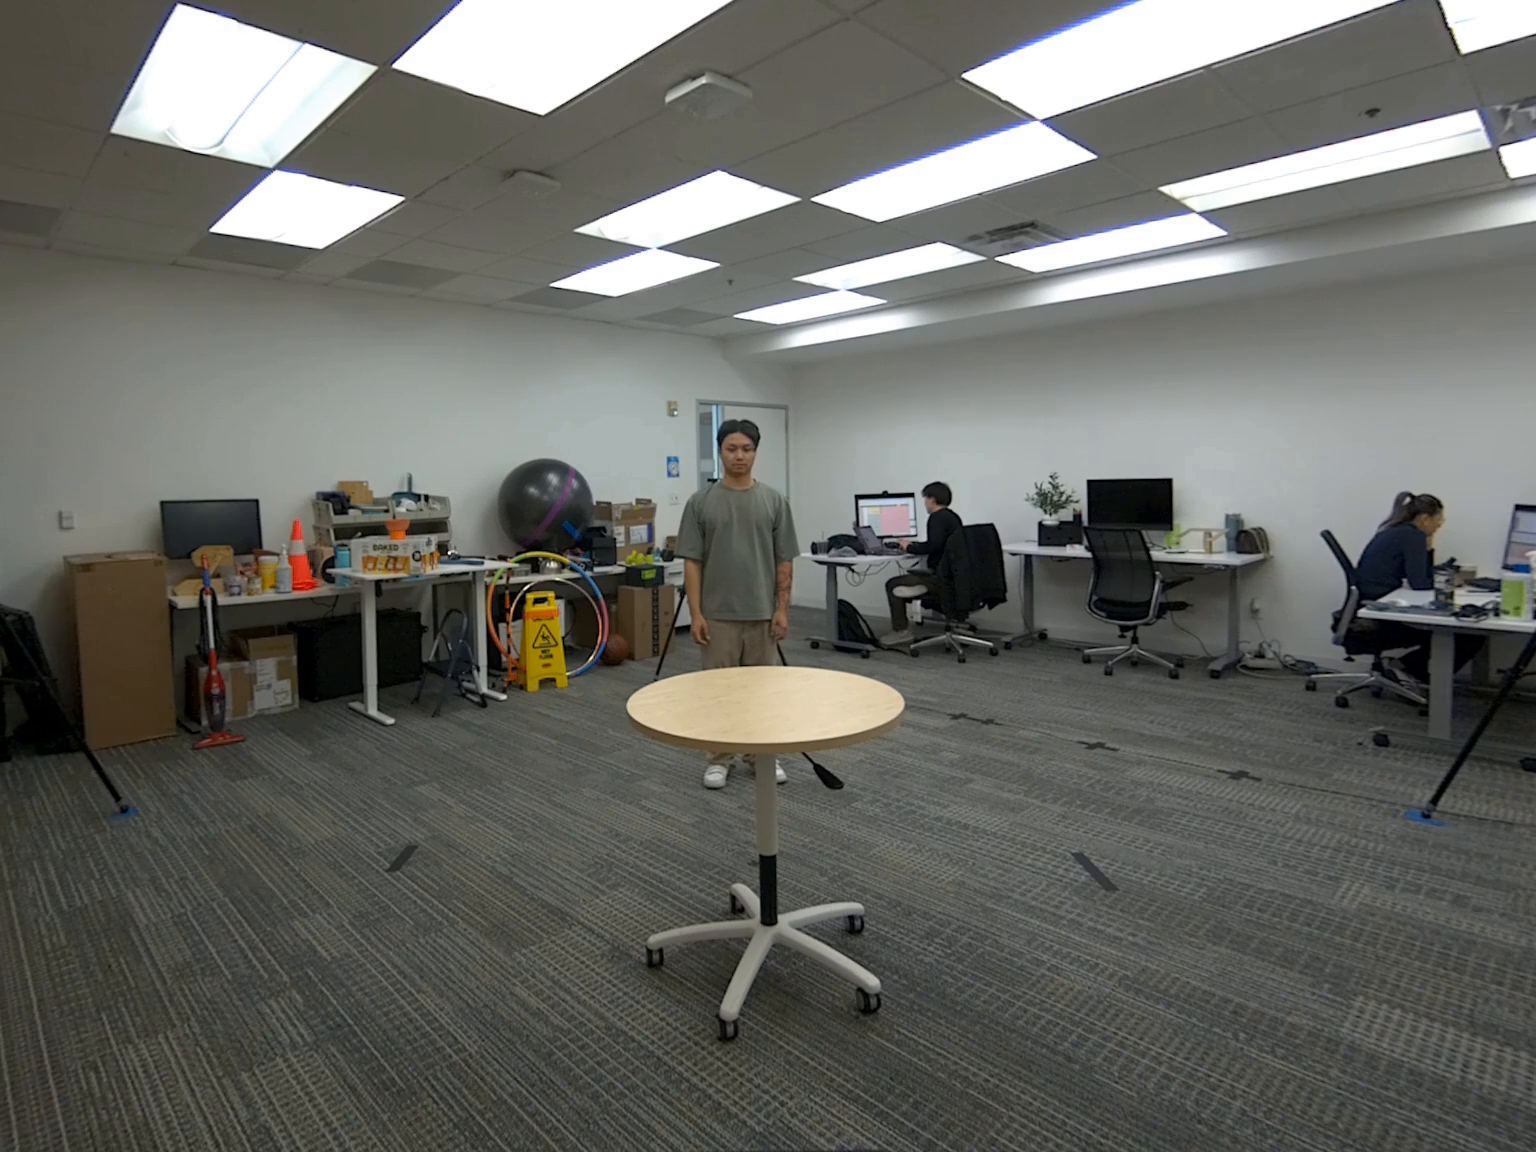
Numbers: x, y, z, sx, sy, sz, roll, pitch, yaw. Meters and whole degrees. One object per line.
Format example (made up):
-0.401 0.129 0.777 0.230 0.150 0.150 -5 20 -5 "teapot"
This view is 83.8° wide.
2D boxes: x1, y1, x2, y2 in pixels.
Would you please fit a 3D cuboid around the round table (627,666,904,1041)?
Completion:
-0.014 0.736 2.414 0.784 0.783 0.789 -1 5 -2 "round table"
